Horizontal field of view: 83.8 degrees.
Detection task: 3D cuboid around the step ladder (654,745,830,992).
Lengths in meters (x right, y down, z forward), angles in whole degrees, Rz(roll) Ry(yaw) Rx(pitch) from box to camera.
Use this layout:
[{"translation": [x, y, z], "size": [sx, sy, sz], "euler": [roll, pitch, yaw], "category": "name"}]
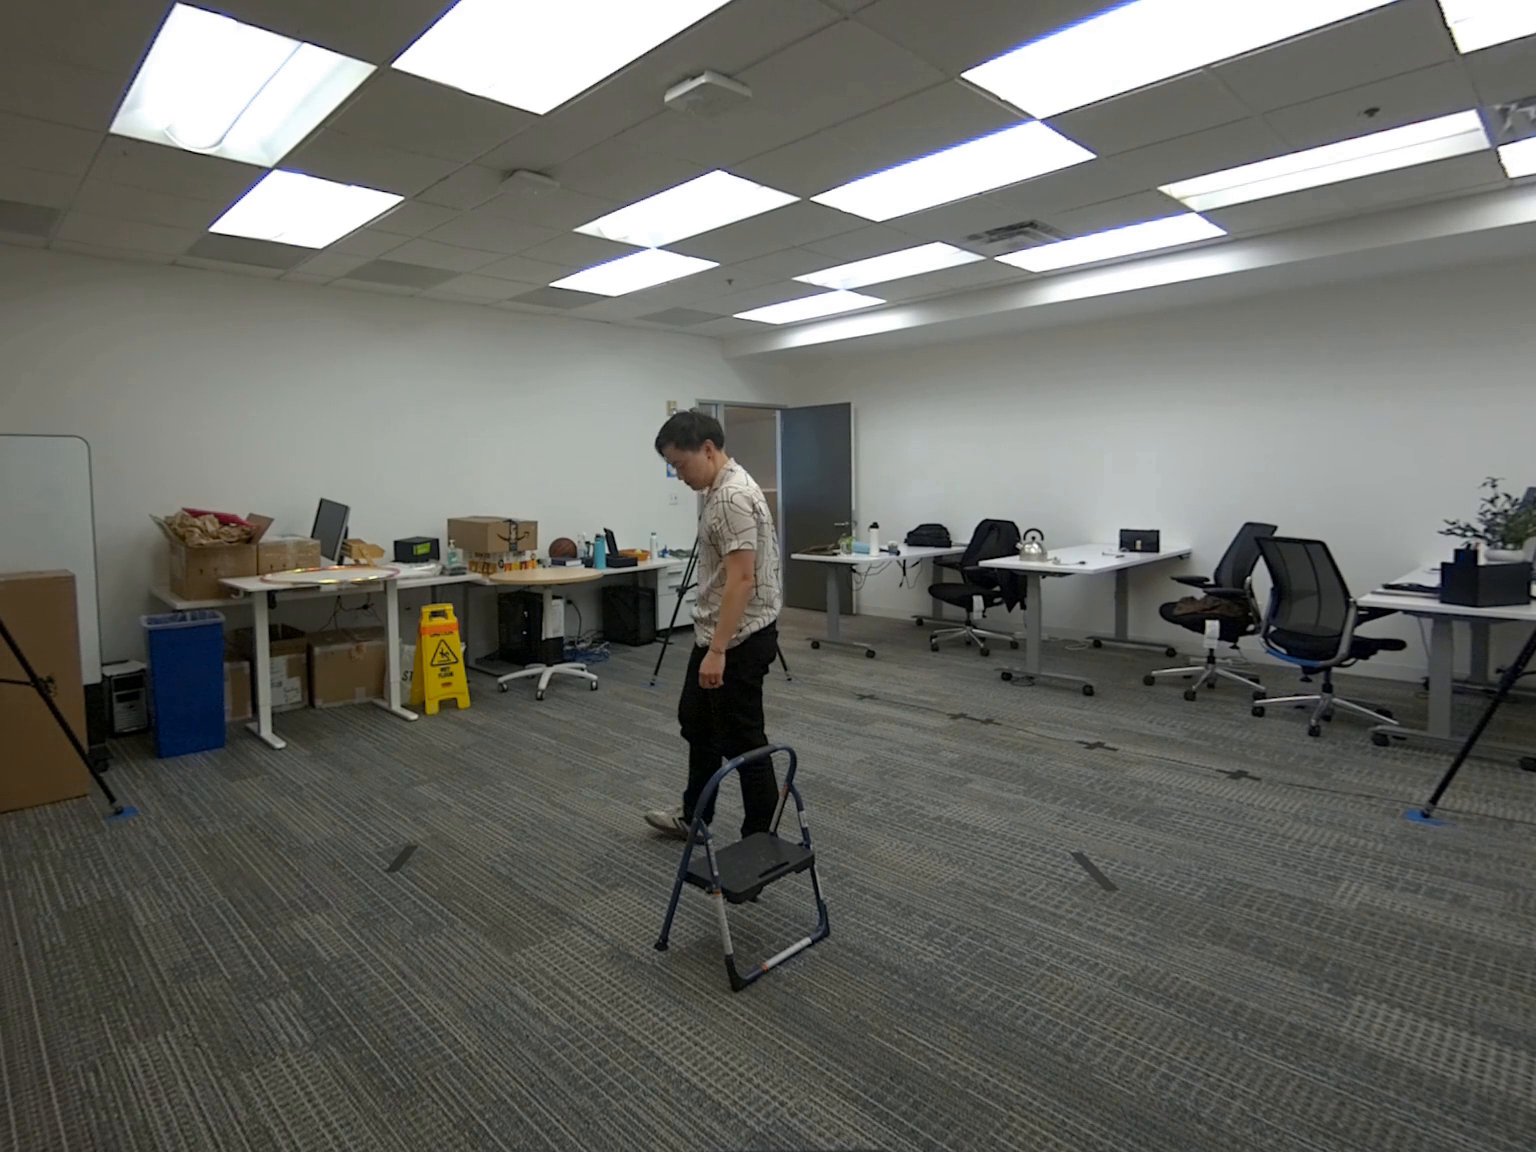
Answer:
[{"translation": [-0.077, 0.807, 2.567], "size": [0.360, 0.603, 0.419], "euler": [3, 7, 43], "category": "step ladder"}]
